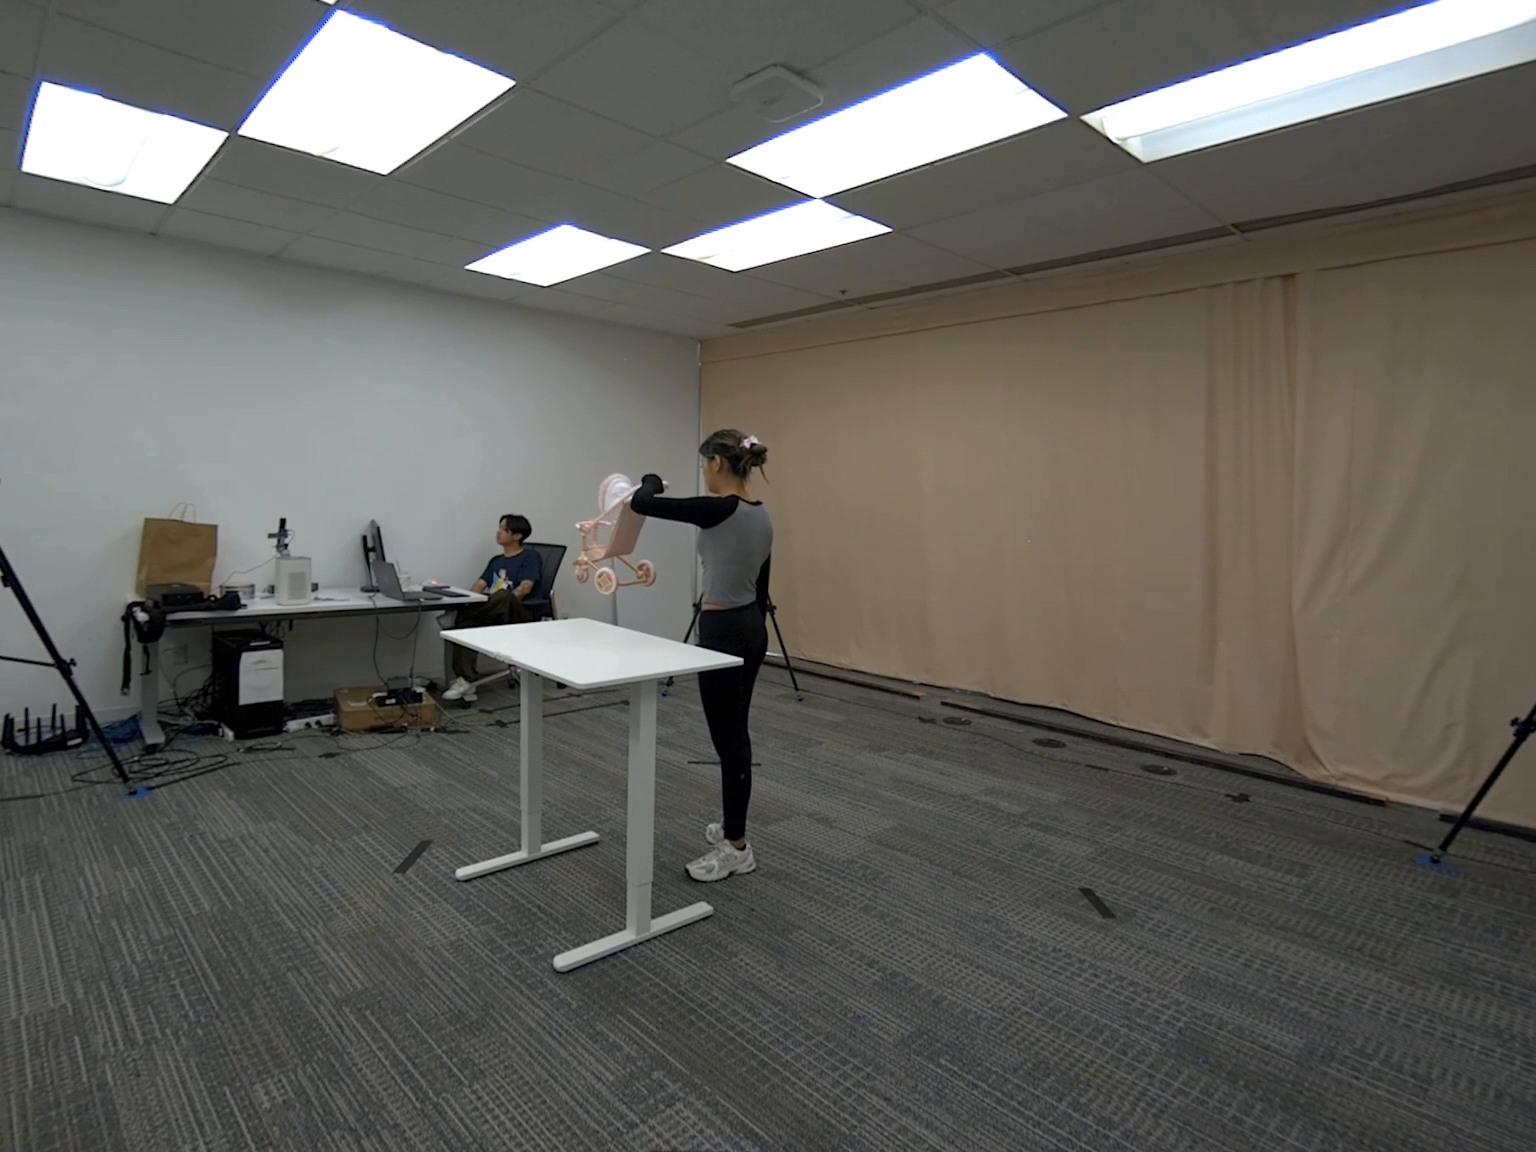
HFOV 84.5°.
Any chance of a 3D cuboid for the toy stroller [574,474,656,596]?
[{"bbox_3d":[-0.626,-0.173,3.437,0.351,0.531,0.276,23,17,32],"label":"toy stroller"}]
